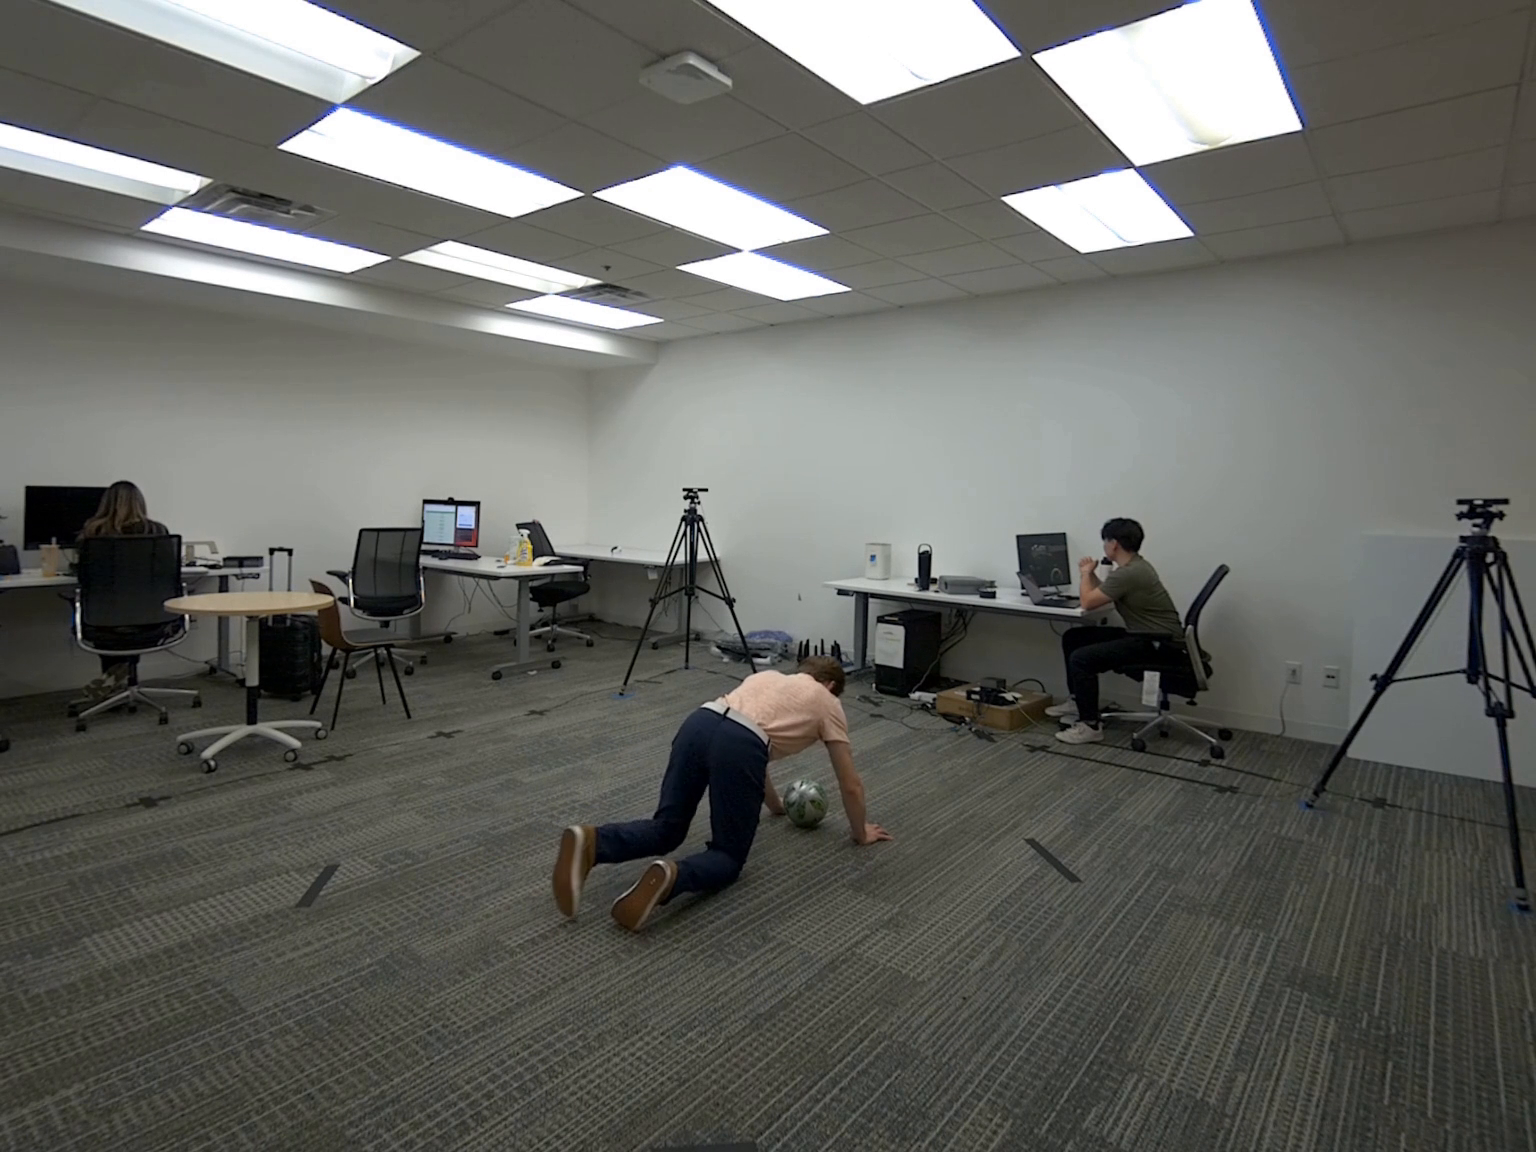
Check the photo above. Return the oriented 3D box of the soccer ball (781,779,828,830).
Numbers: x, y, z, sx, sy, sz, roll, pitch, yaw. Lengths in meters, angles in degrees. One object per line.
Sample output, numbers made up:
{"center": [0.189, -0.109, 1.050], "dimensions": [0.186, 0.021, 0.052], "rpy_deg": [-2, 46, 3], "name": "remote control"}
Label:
{"center": [0.152, 0.946, 3.546], "dimensions": [0.187, 0.187, 0.188], "rpy_deg": [1, 4, -2], "name": "soccer ball"}
